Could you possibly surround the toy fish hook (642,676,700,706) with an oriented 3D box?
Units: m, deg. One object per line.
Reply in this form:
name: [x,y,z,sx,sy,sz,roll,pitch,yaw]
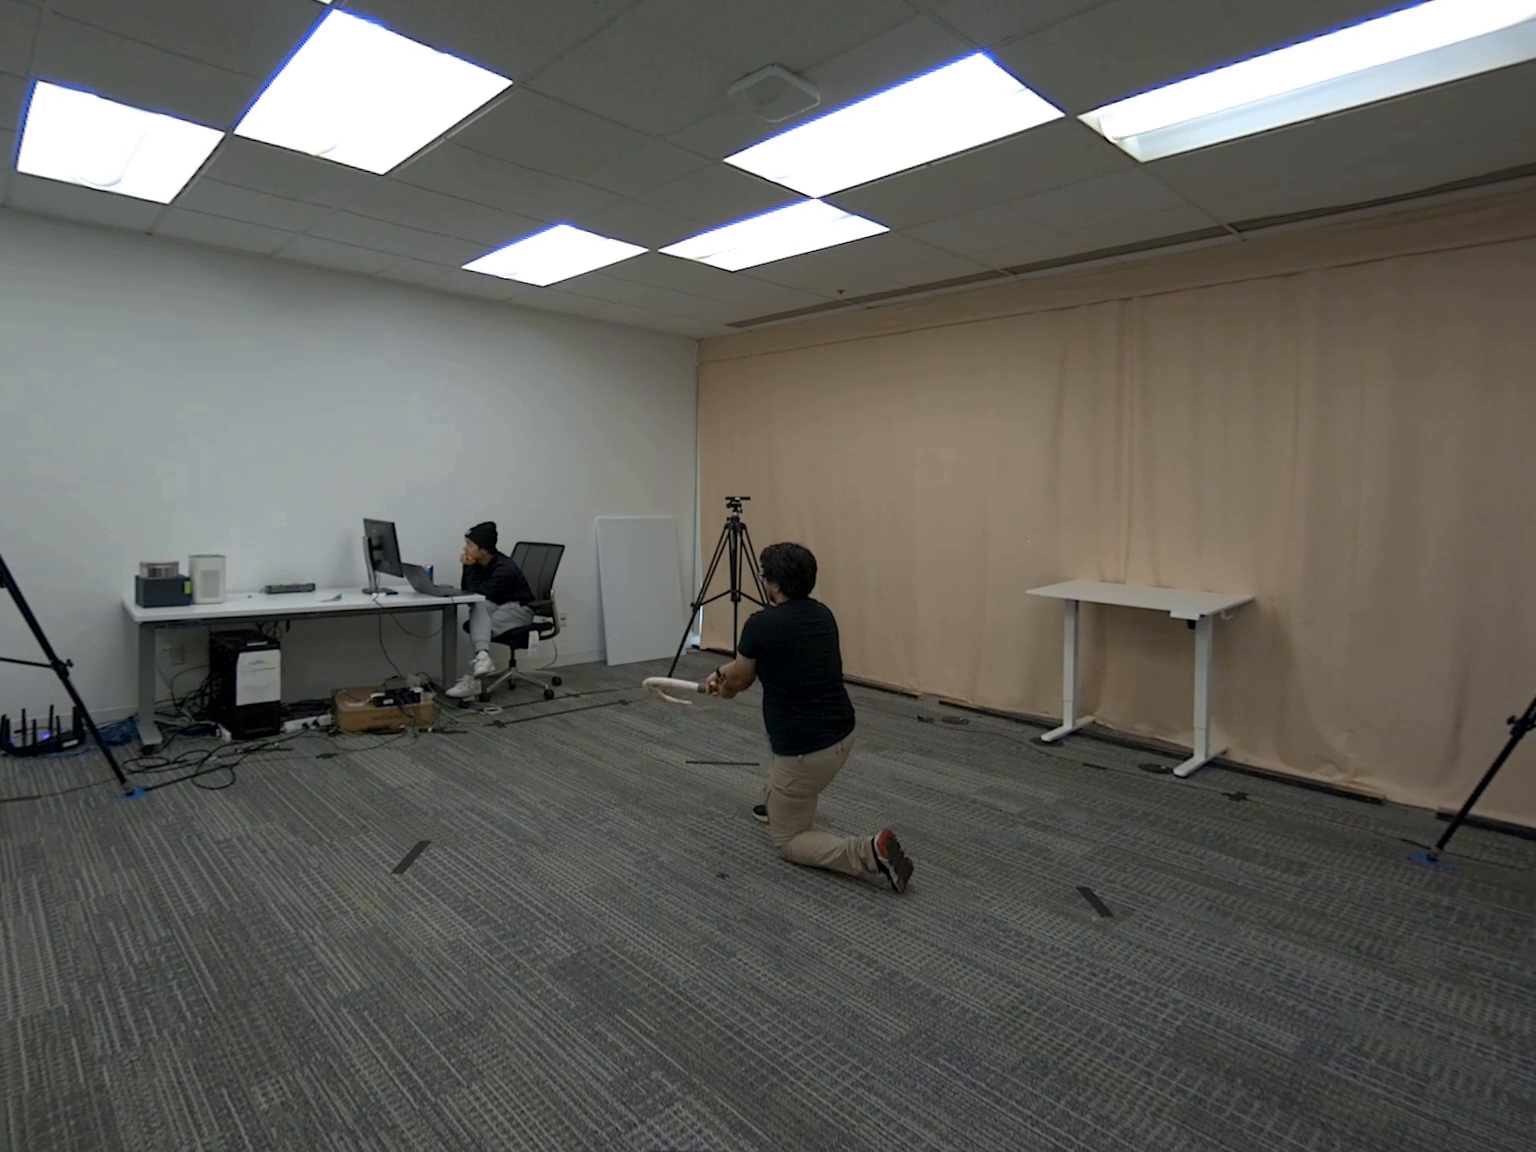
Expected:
toy fish hook: [-0.336,0.519,3.768,0.516,0.049,0.217,0,-33,28]
